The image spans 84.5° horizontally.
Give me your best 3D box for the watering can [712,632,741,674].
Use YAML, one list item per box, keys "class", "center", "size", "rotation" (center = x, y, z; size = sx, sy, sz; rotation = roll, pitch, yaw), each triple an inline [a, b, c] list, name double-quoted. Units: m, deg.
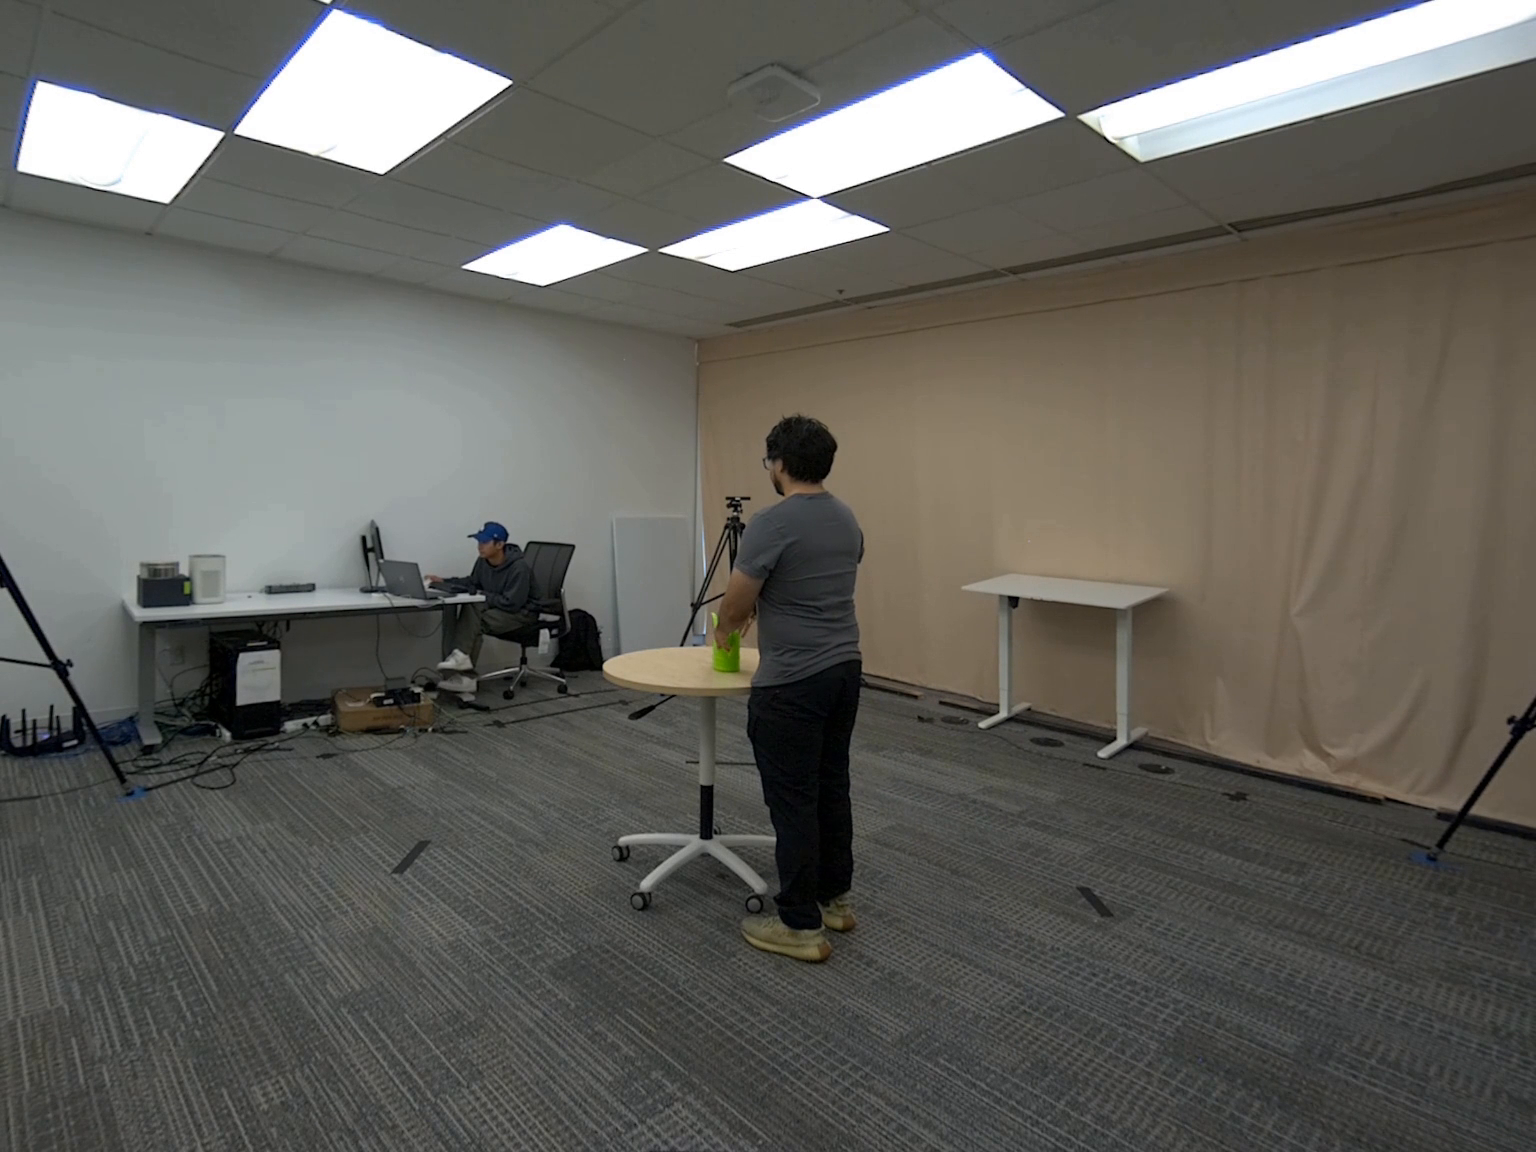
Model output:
- class: "watering can"
  center: [-0.153, 0.246, 3.039]
  size: [0.098, 0.176, 0.278]
  rotation: [5, 4, 3]
